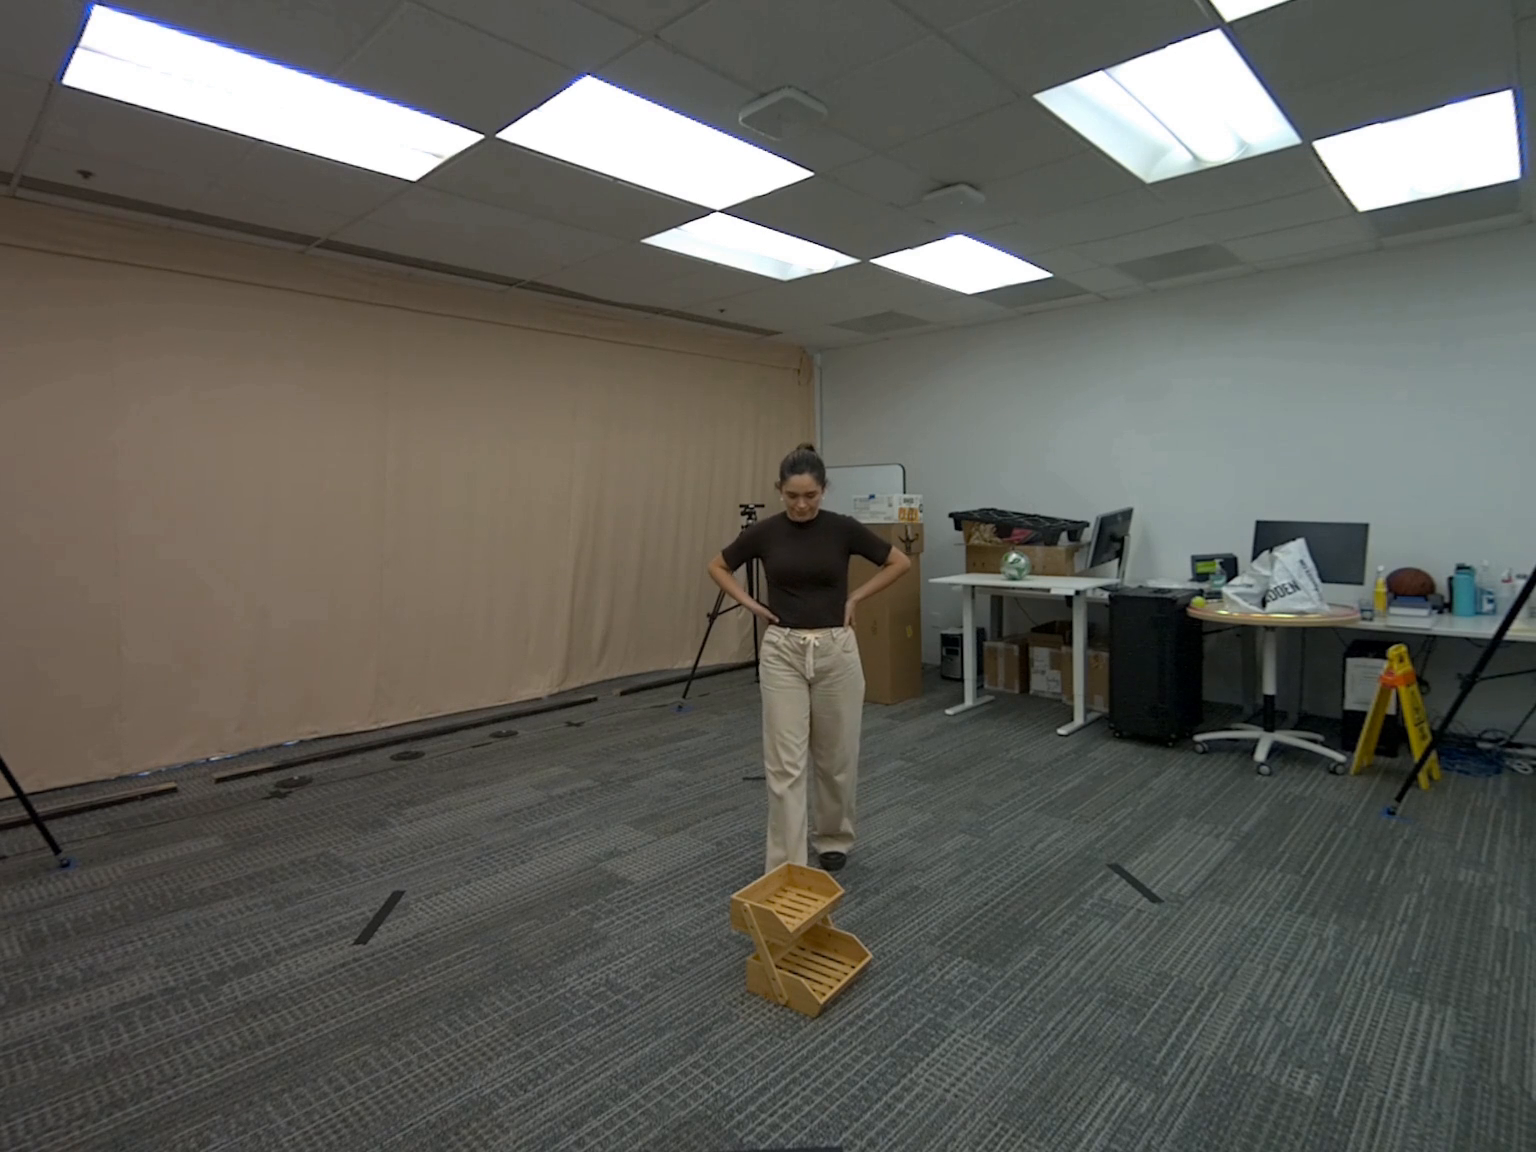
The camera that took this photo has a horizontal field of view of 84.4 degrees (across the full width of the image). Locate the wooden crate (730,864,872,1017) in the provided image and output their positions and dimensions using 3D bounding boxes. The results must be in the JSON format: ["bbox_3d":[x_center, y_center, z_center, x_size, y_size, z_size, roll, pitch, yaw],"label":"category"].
[{"bbox_3d":[0.105,1.046,2.468,0.311,0.273,0.315,1,3,37],"label":"wooden crate"}]
